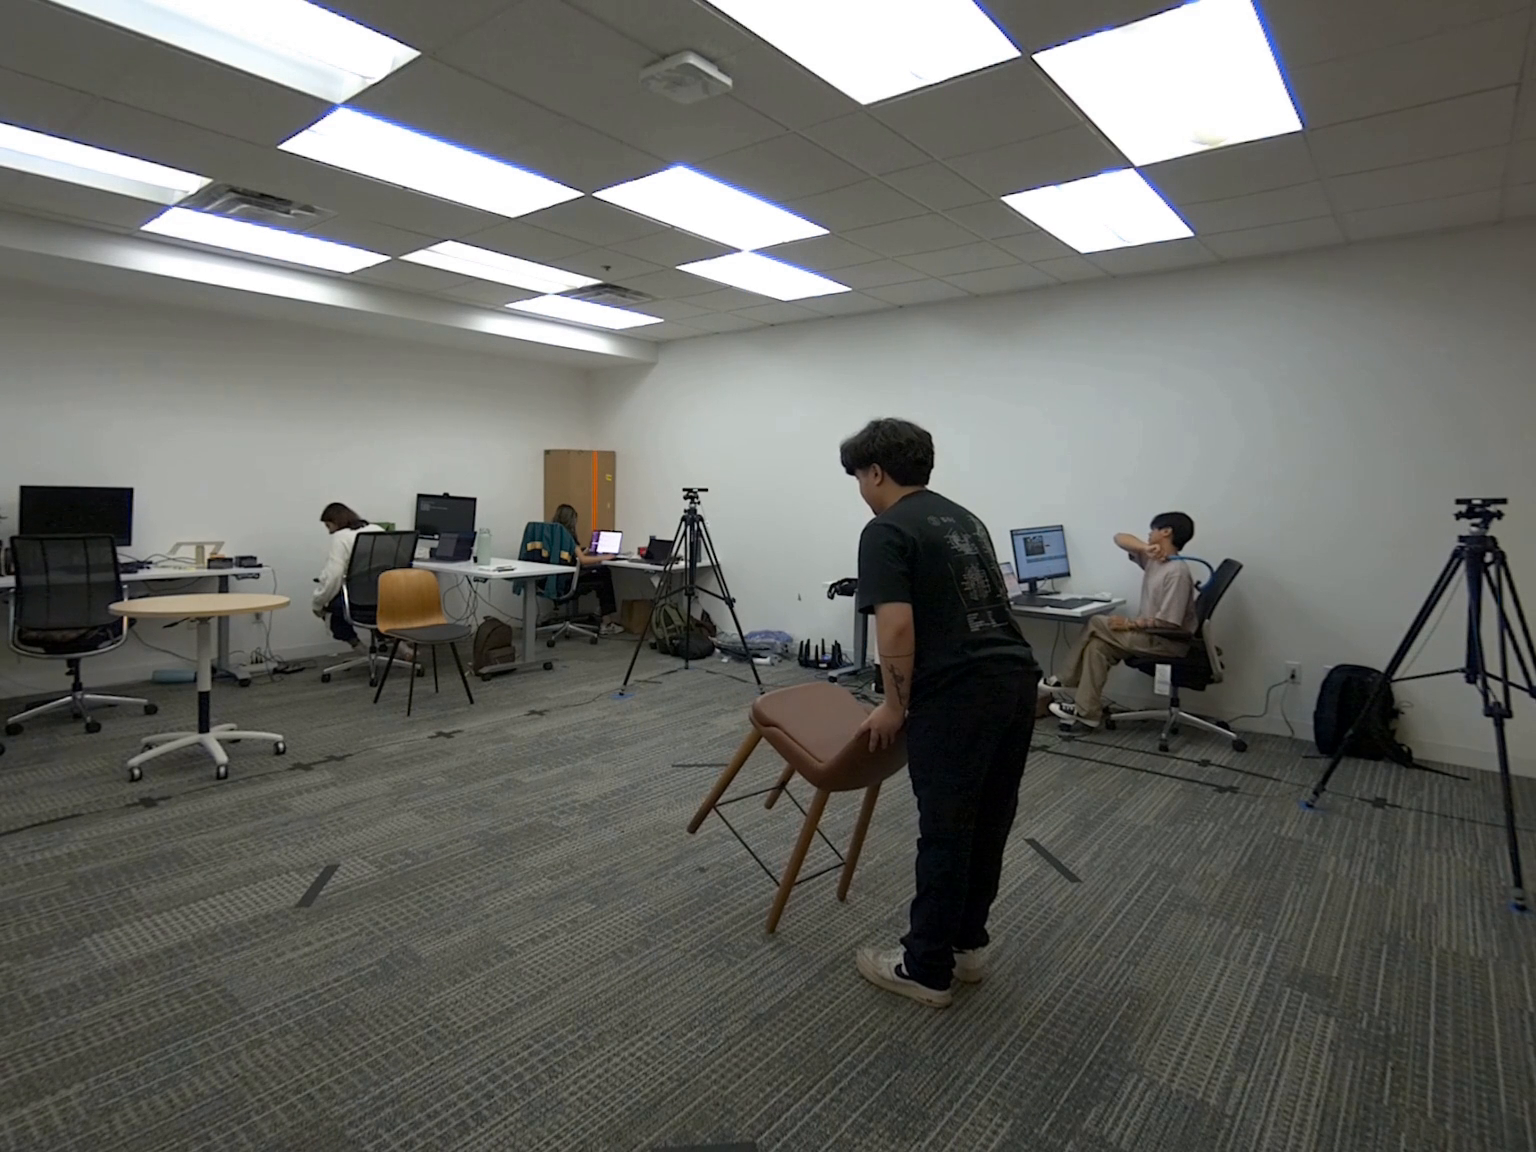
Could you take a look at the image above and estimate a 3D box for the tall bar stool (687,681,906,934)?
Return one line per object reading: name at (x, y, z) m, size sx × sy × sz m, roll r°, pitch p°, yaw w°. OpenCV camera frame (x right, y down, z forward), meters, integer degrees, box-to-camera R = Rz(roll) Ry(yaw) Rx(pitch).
tall bar stool at (0.152, 0.626, 2.750) m, size 0.442 × 0.881 × 0.487 m, roll -1°, pitch 35°, yaw -44°
